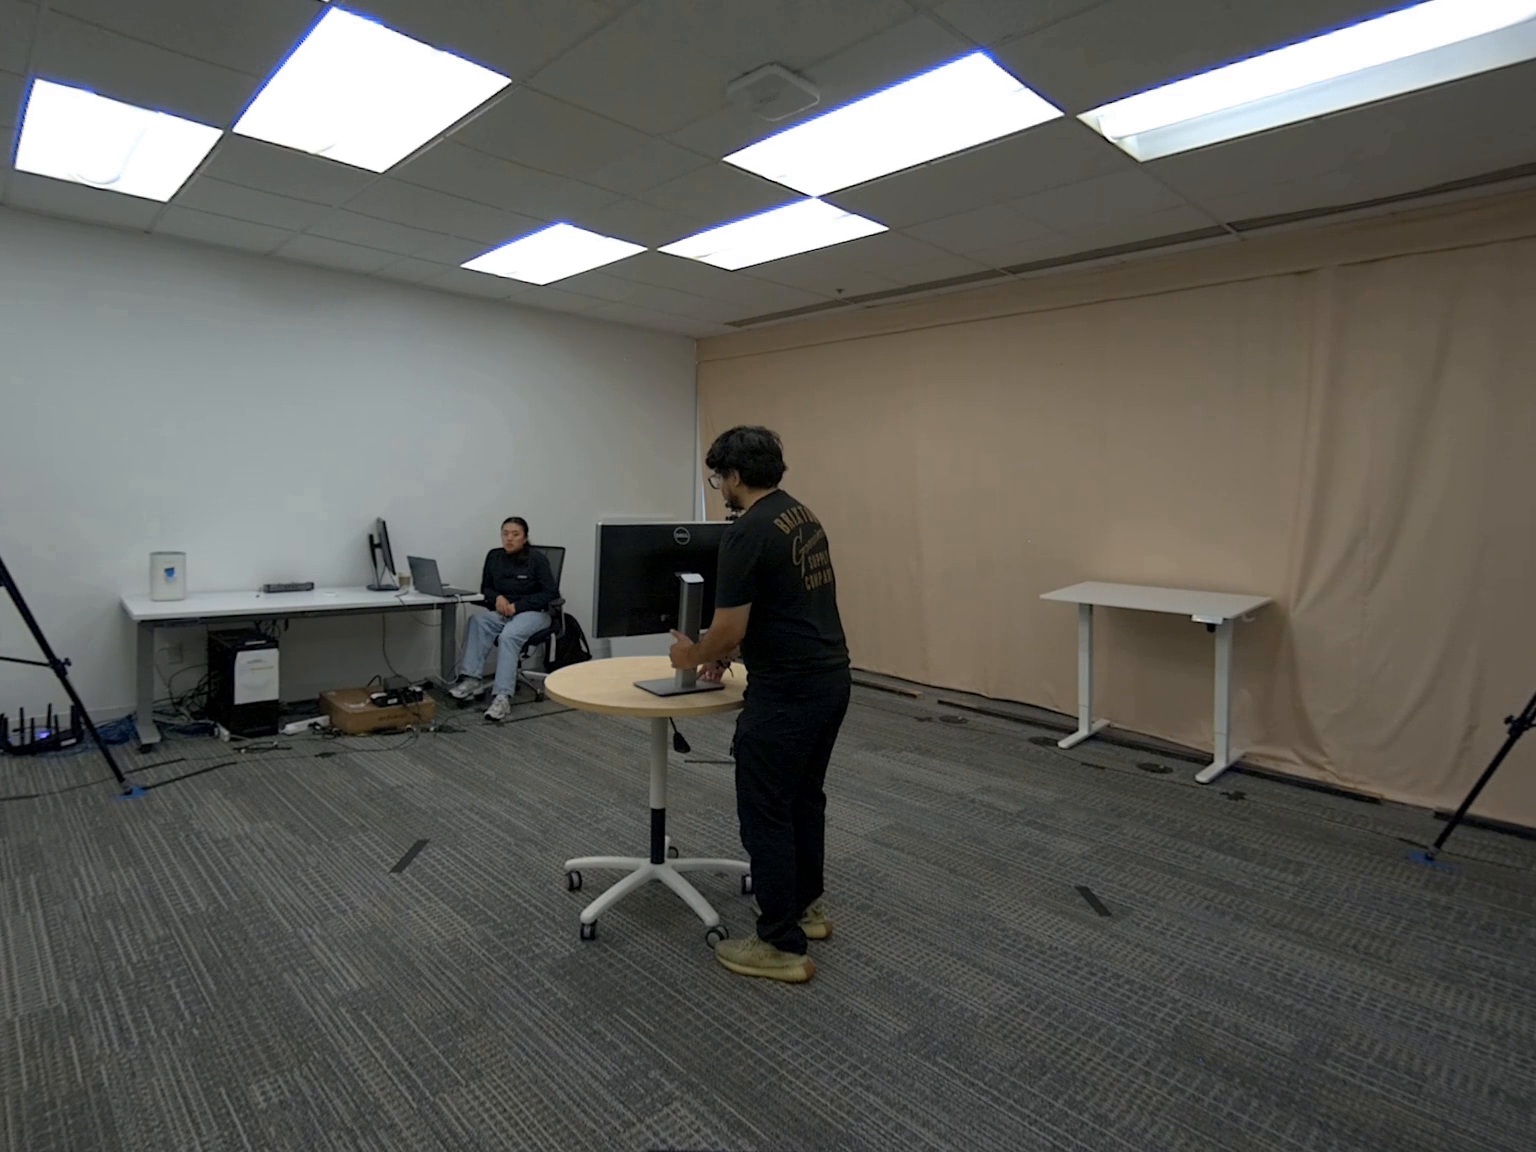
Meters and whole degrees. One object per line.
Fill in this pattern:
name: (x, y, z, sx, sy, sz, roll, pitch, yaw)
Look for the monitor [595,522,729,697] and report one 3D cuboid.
monitor: (-0.272, 0.102, 2.690, 0.553, 0.552, 0.215, -2, 6, -34)
